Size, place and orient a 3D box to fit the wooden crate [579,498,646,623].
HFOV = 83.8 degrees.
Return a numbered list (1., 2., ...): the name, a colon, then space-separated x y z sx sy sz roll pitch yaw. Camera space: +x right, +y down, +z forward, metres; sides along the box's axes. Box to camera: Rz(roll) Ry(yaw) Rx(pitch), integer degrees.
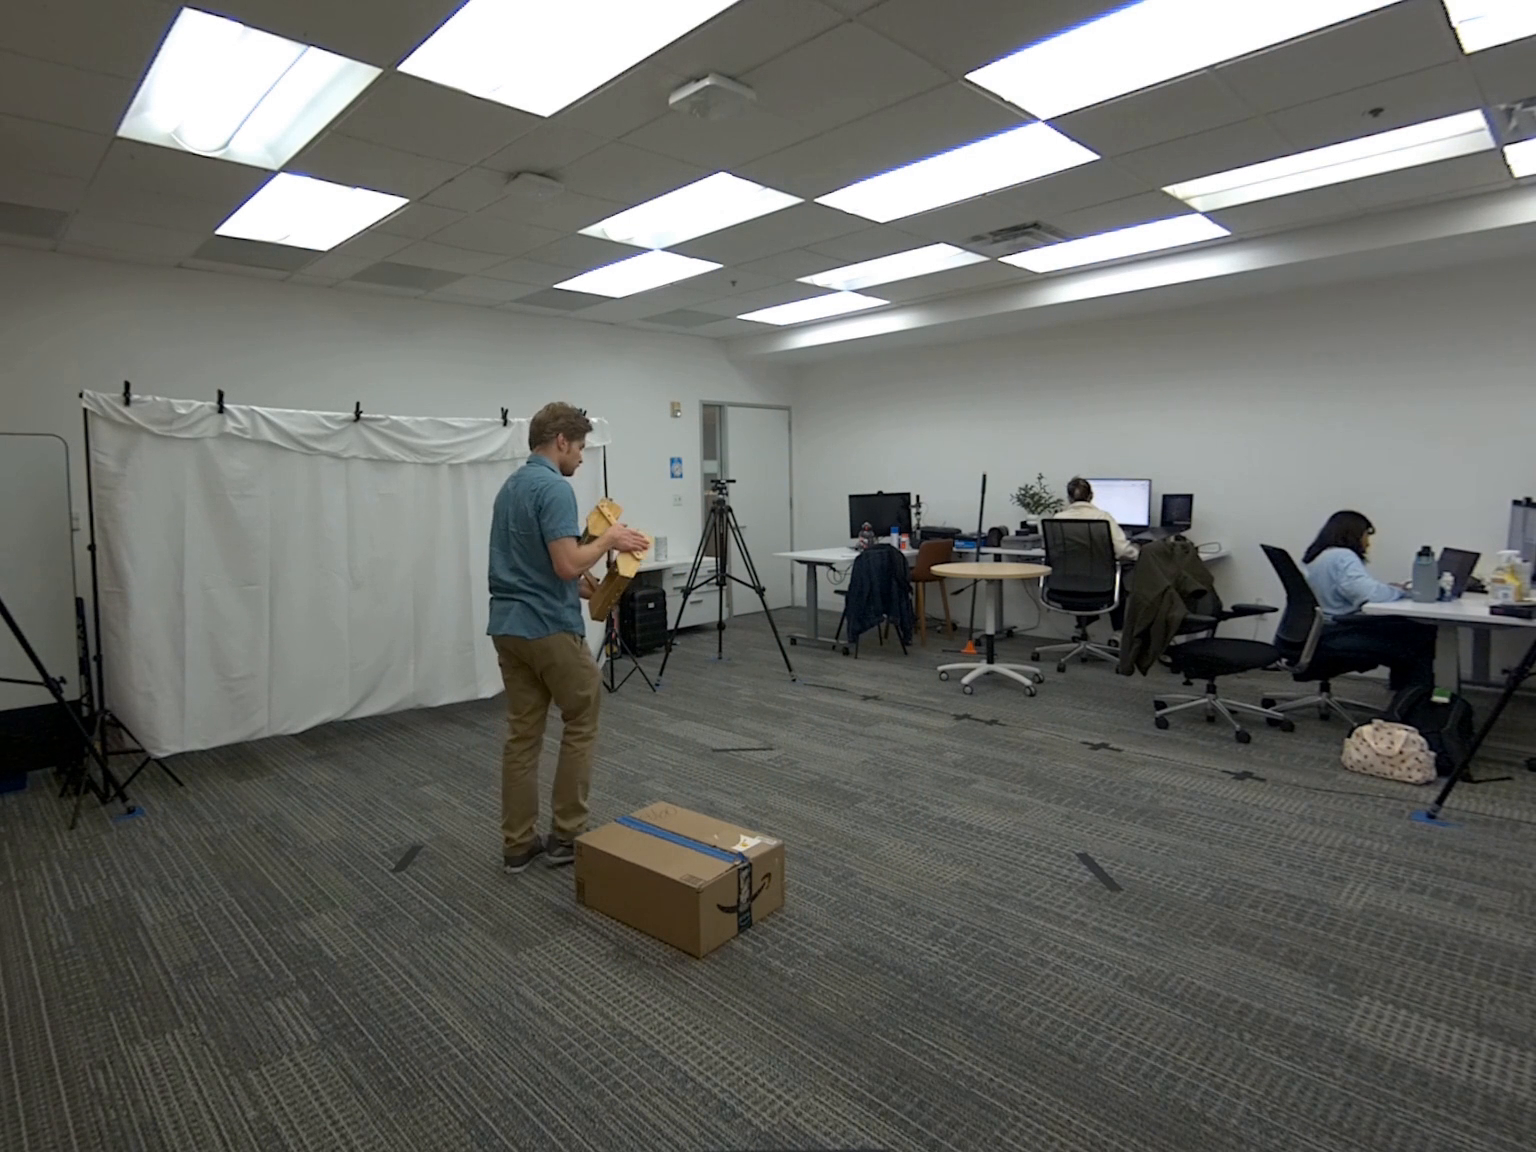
1. wooden crate: -0.643 -0.059 3.283 0.272 0.323 0.305 32 42 -6
